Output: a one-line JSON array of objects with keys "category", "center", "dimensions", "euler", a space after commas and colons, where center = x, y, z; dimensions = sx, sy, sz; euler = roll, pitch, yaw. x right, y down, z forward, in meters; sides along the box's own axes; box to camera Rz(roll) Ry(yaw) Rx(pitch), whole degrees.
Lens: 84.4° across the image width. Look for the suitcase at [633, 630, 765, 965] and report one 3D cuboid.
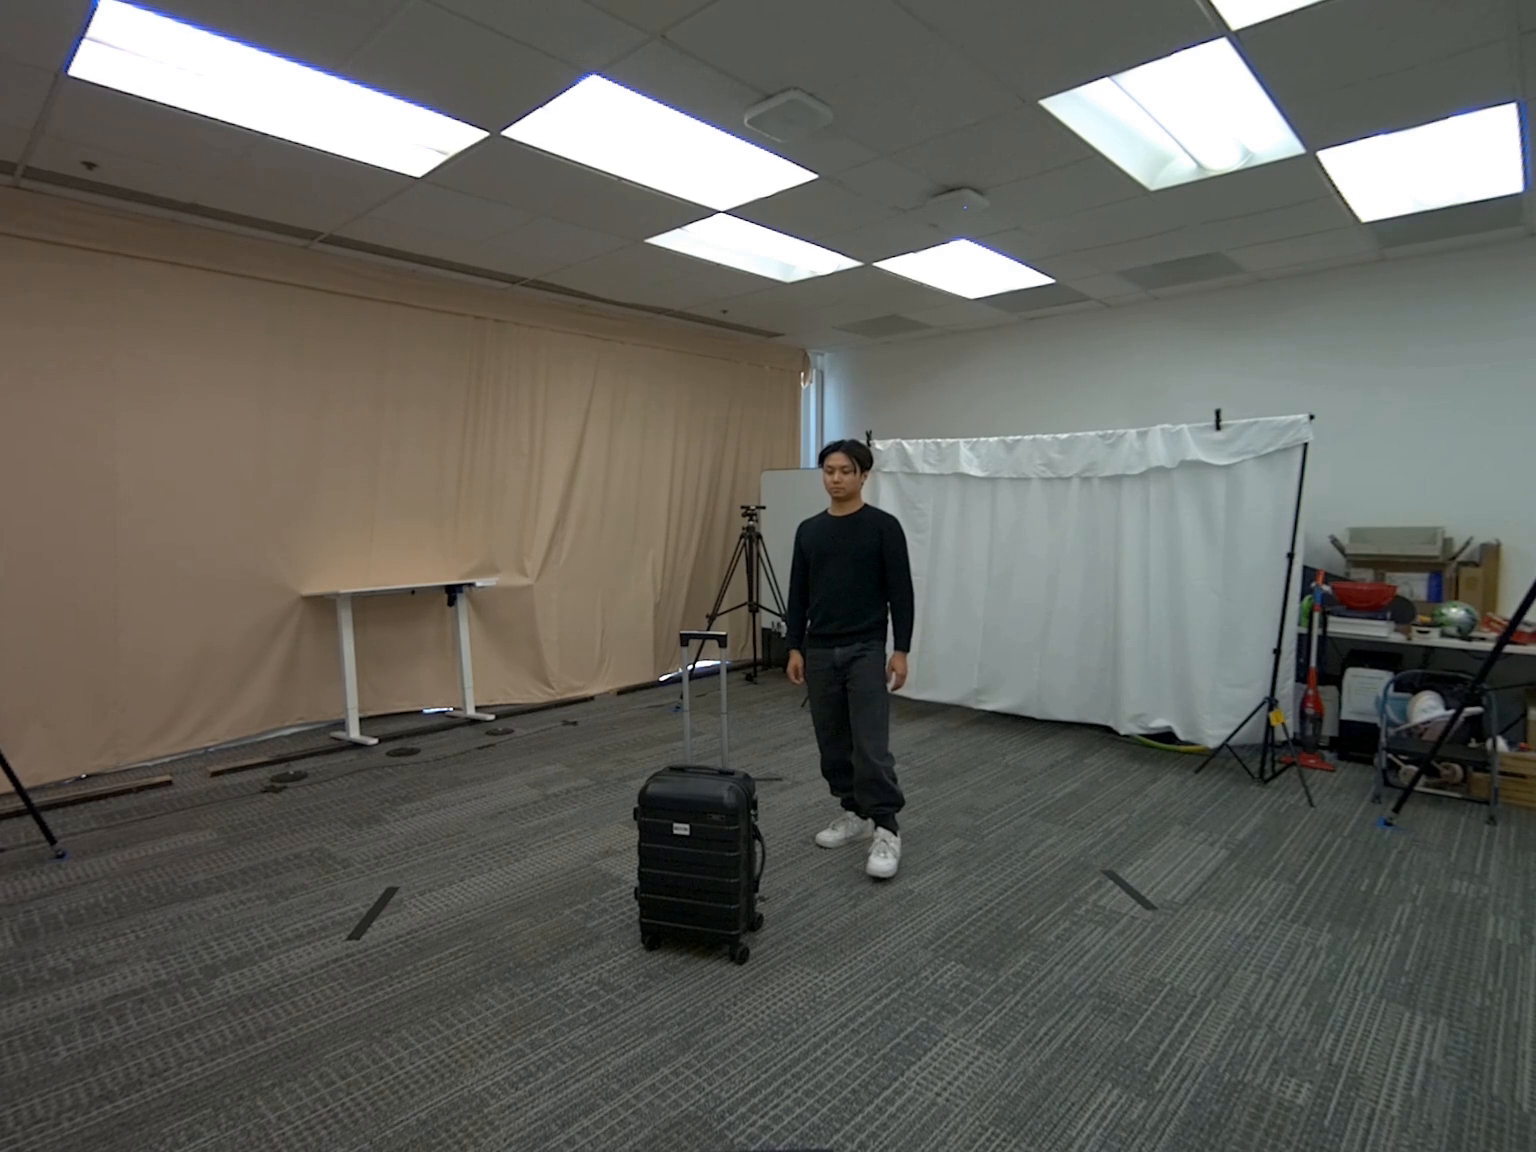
[{"category": "suitcase", "center": [-0.220, 0.696, 2.666], "dimensions": [0.390, 0.974, 0.254], "euler": [0, 6, 14]}]
